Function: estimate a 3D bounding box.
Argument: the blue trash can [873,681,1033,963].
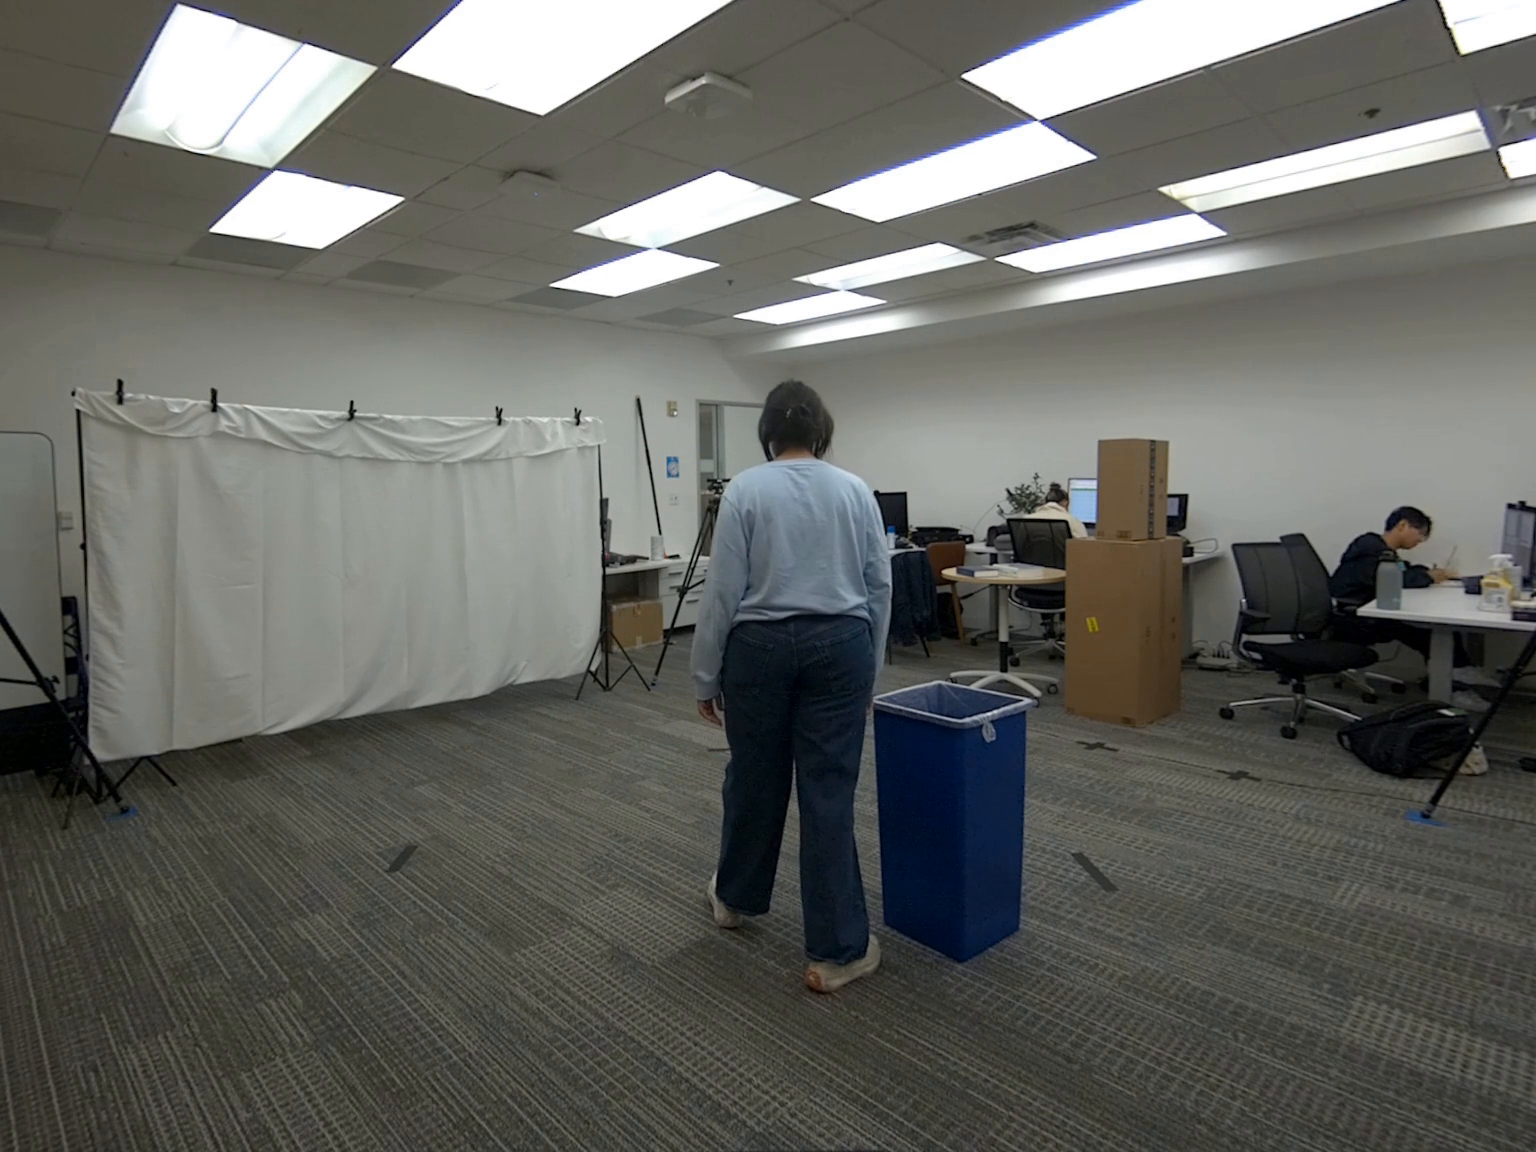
[{"bbox_3d":[0.567,0.732,2.643,0.364,0.711,0.389,-5,5,-41],"label":"blue trash can"}]
